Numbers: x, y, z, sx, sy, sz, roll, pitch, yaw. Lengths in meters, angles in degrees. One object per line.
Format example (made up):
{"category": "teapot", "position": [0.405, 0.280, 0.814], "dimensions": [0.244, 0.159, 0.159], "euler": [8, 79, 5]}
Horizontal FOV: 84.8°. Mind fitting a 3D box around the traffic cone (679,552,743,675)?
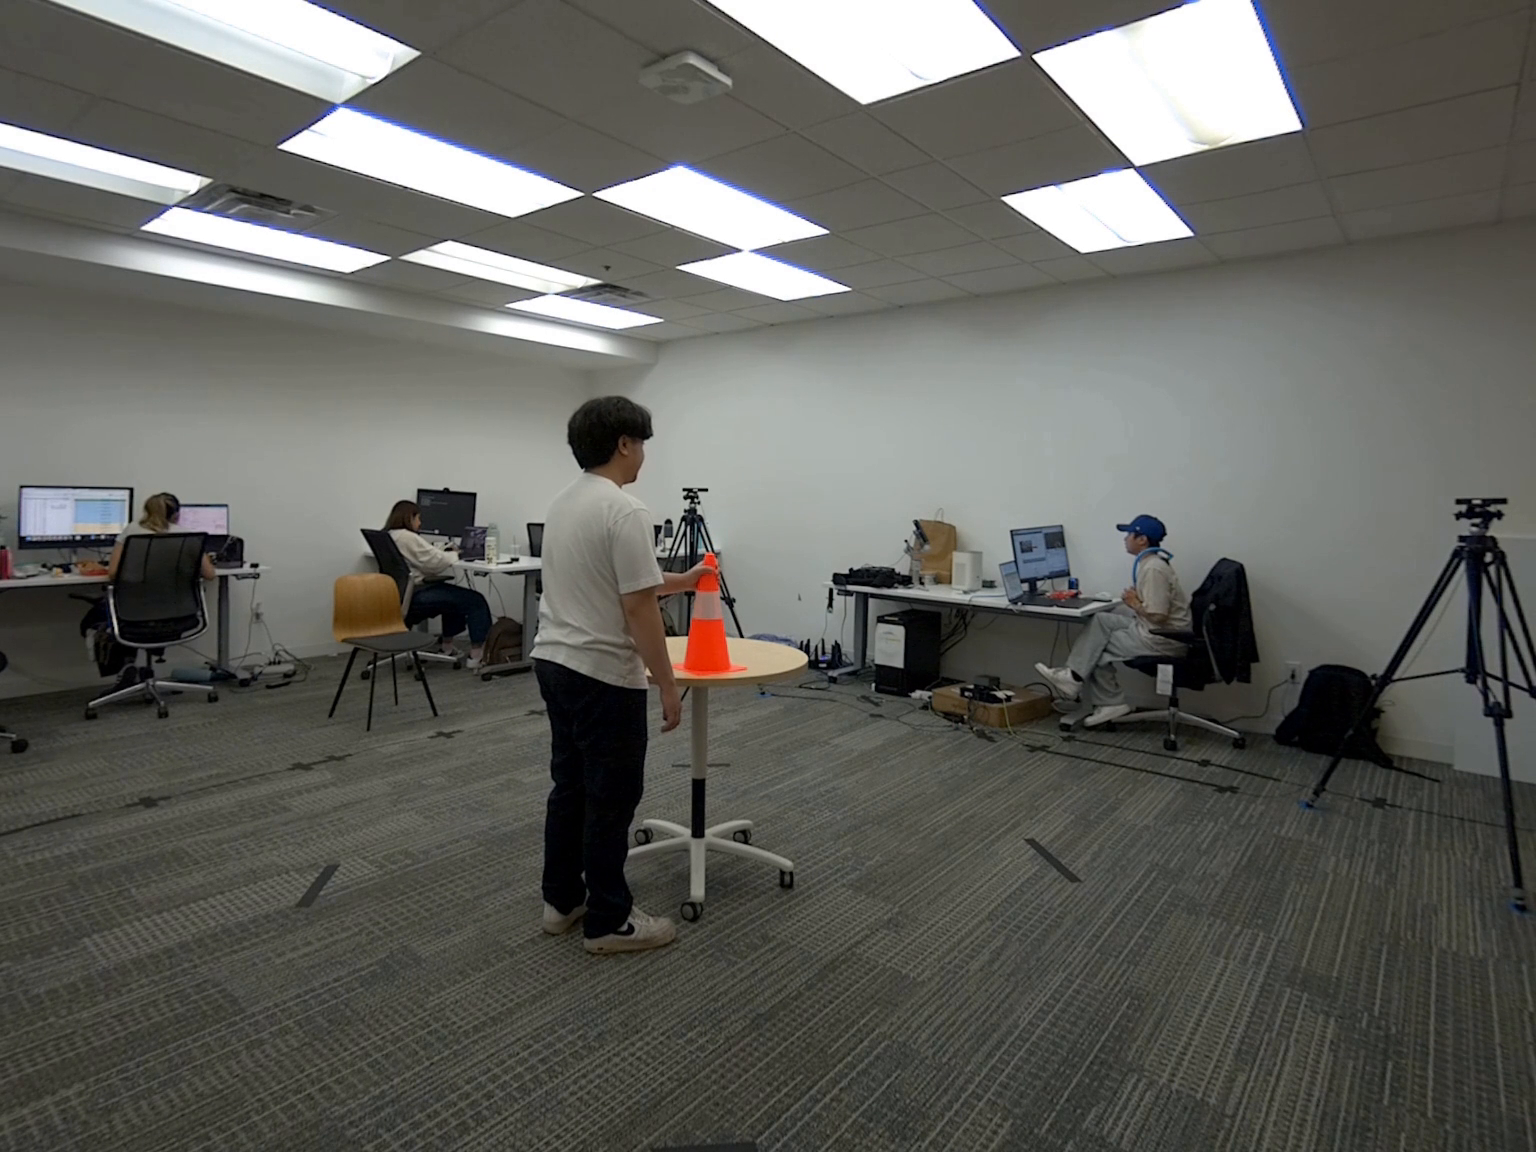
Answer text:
{"category": "traffic cone", "position": [-0.213, 0.118, 2.807], "dimensions": [0.212, 0.382, 0.197], "euler": [4, 7, 42]}
